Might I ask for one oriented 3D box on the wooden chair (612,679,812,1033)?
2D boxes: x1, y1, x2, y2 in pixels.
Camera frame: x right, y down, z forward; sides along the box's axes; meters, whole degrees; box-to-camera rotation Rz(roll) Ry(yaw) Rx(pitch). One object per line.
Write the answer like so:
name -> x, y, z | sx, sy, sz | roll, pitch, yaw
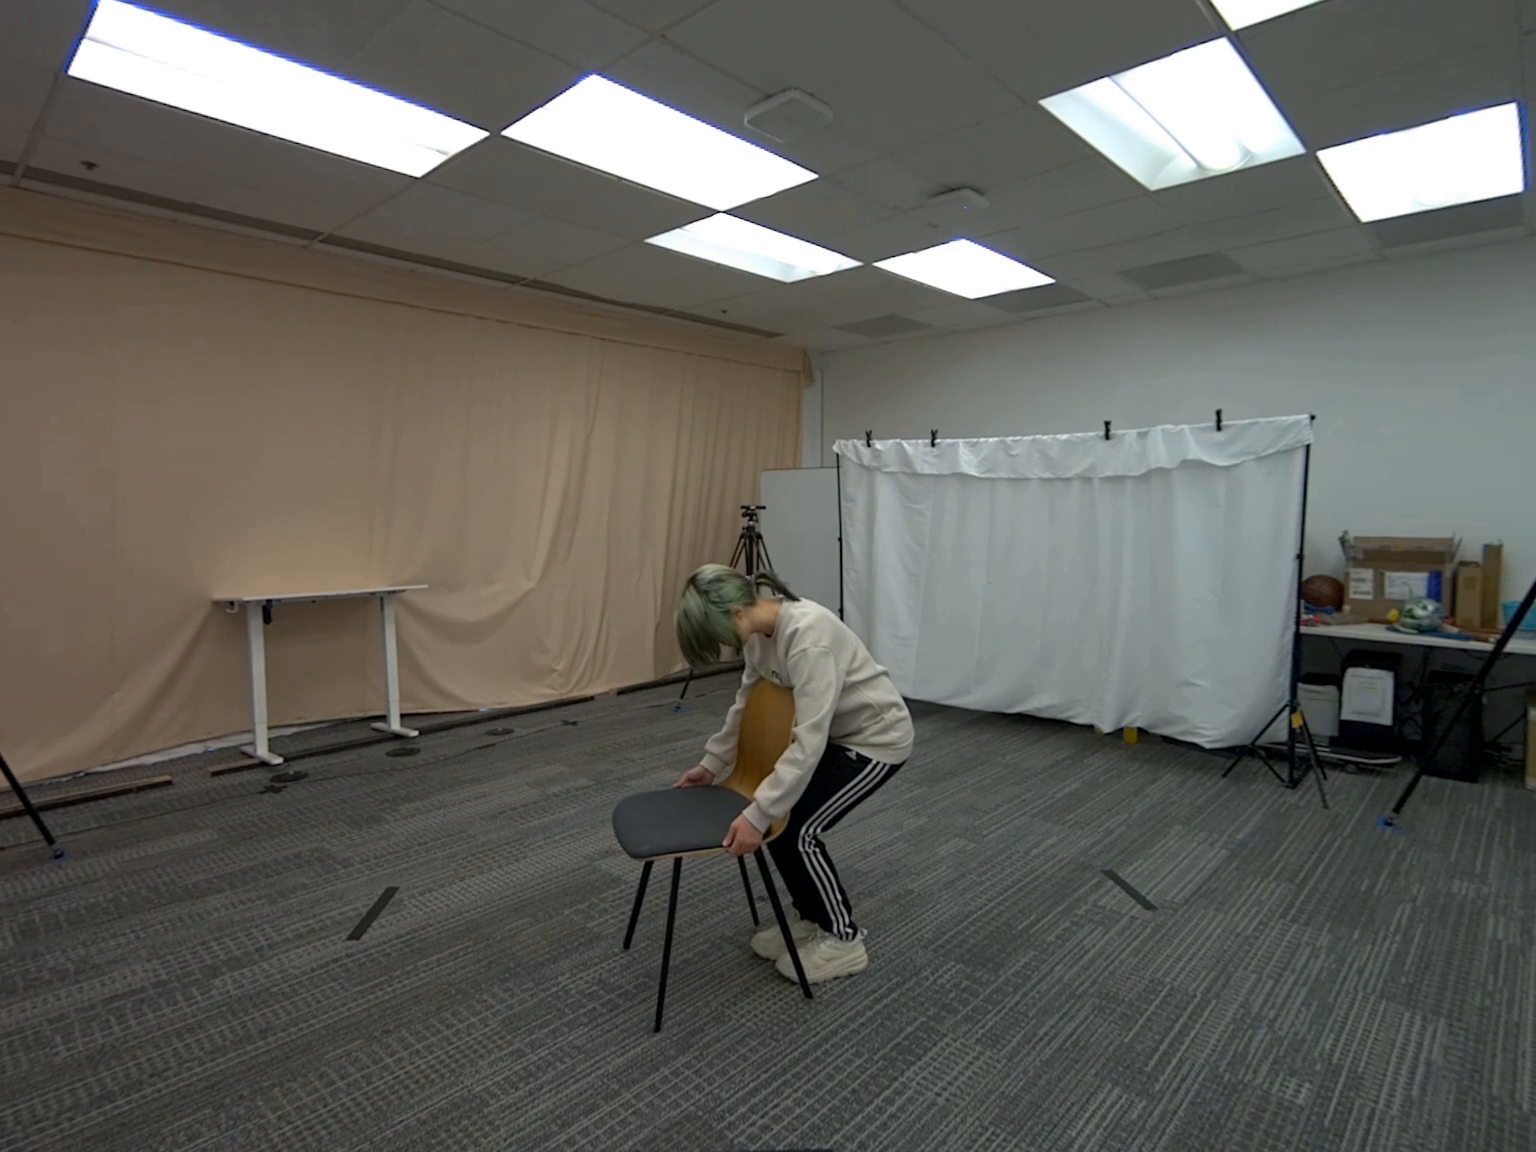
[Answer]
wooden chair -> -0.187, 0.757, 2.463 | 0.513, 0.876, 0.488 | 2, 3, -19
